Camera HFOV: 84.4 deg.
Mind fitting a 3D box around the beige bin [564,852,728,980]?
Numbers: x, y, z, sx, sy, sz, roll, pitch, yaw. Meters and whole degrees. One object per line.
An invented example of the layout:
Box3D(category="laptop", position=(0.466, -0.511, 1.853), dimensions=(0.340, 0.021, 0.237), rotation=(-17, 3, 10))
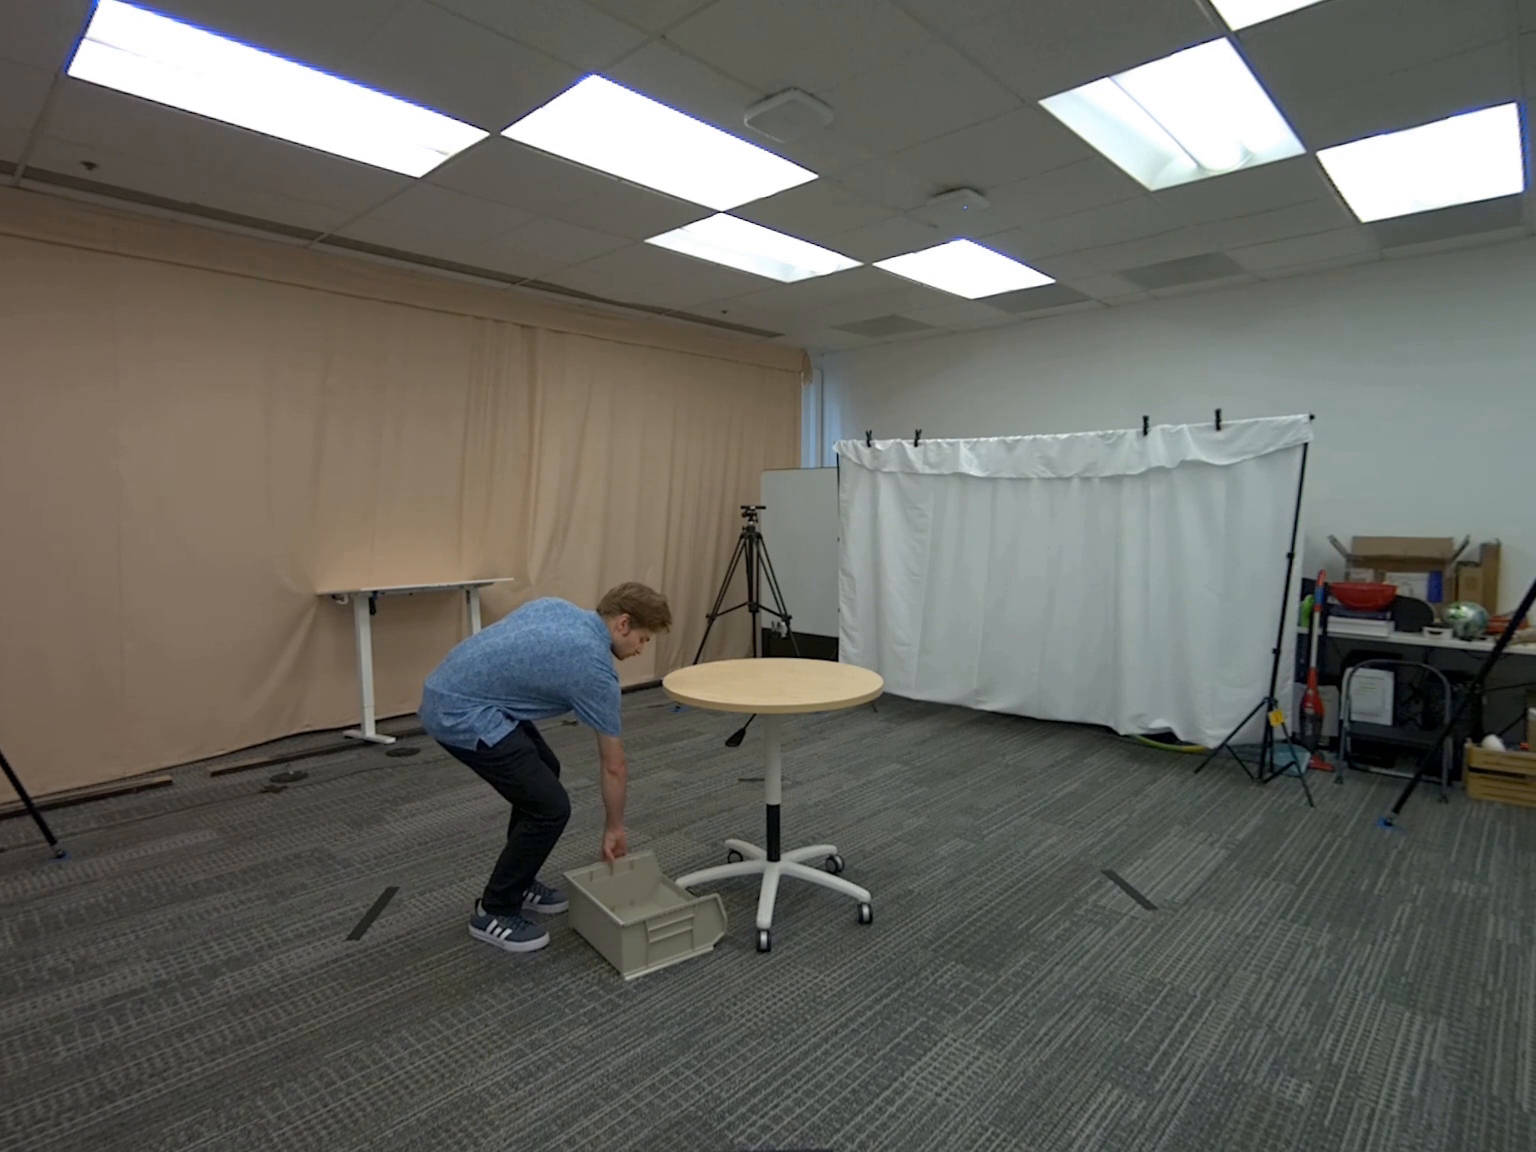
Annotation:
Box3D(category="beige bin", position=(-0.406, 1.082, 2.724), dimensions=(0.366, 0.188, 0.436), rotation=(-5, 7, -37))
